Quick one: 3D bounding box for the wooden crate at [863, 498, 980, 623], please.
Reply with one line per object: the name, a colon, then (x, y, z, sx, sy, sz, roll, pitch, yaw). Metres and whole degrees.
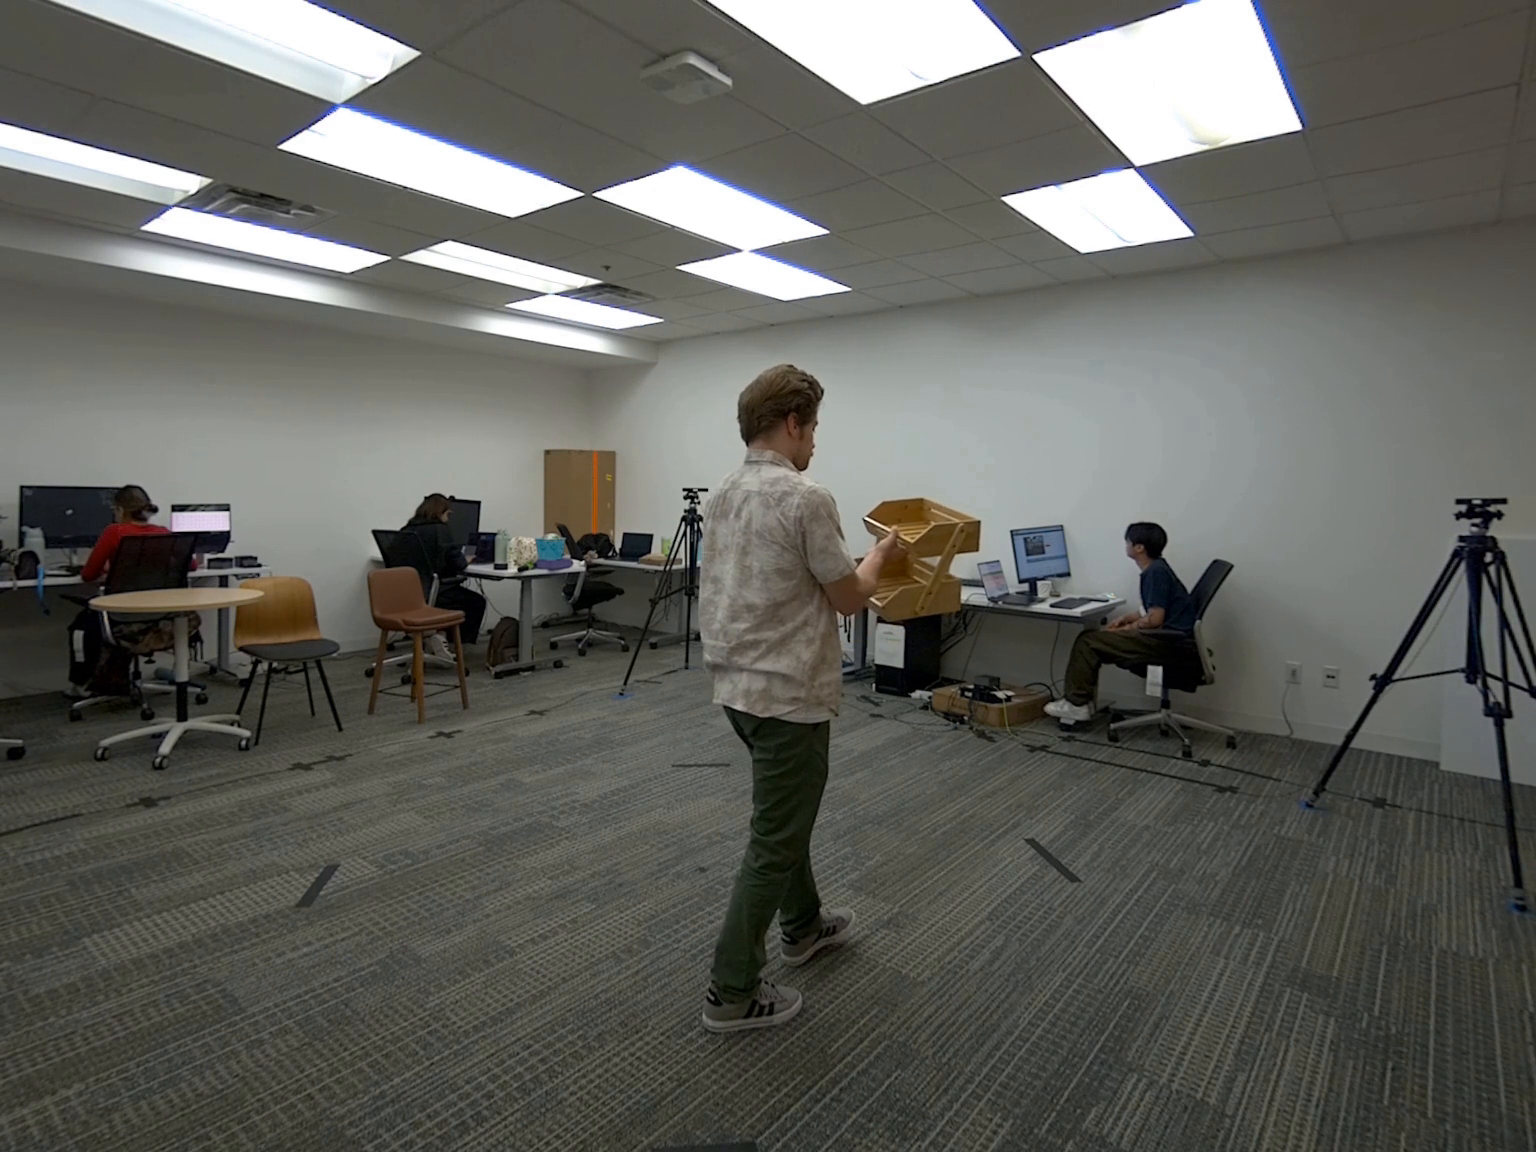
wooden crate: (0.390, -0.065, 2.465, 0.297, 0.269, 0.335, -6, 18, -19)
